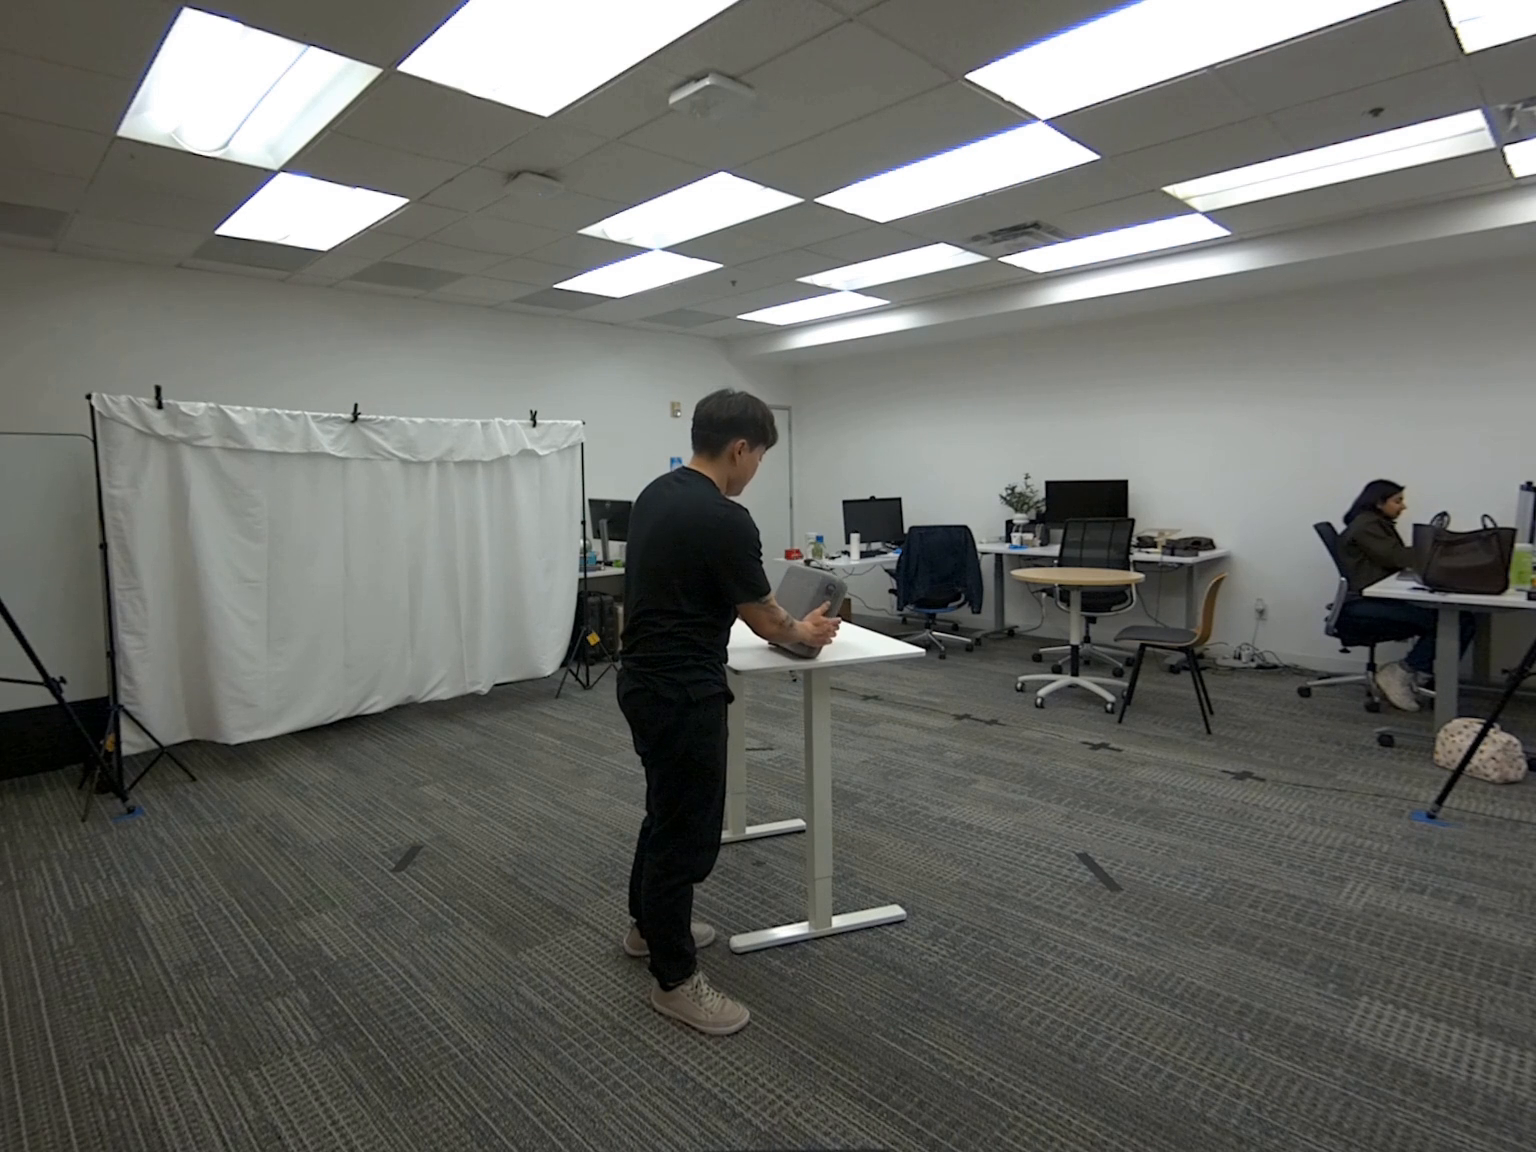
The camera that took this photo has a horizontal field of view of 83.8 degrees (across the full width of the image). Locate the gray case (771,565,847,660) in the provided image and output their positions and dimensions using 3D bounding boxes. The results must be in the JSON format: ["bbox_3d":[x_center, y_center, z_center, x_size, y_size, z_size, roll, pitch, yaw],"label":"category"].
[{"bbox_3d":[0.109,0.099,2.550,0.102,0.261,0.262,20,-3,-21],"label":"gray case"}]
